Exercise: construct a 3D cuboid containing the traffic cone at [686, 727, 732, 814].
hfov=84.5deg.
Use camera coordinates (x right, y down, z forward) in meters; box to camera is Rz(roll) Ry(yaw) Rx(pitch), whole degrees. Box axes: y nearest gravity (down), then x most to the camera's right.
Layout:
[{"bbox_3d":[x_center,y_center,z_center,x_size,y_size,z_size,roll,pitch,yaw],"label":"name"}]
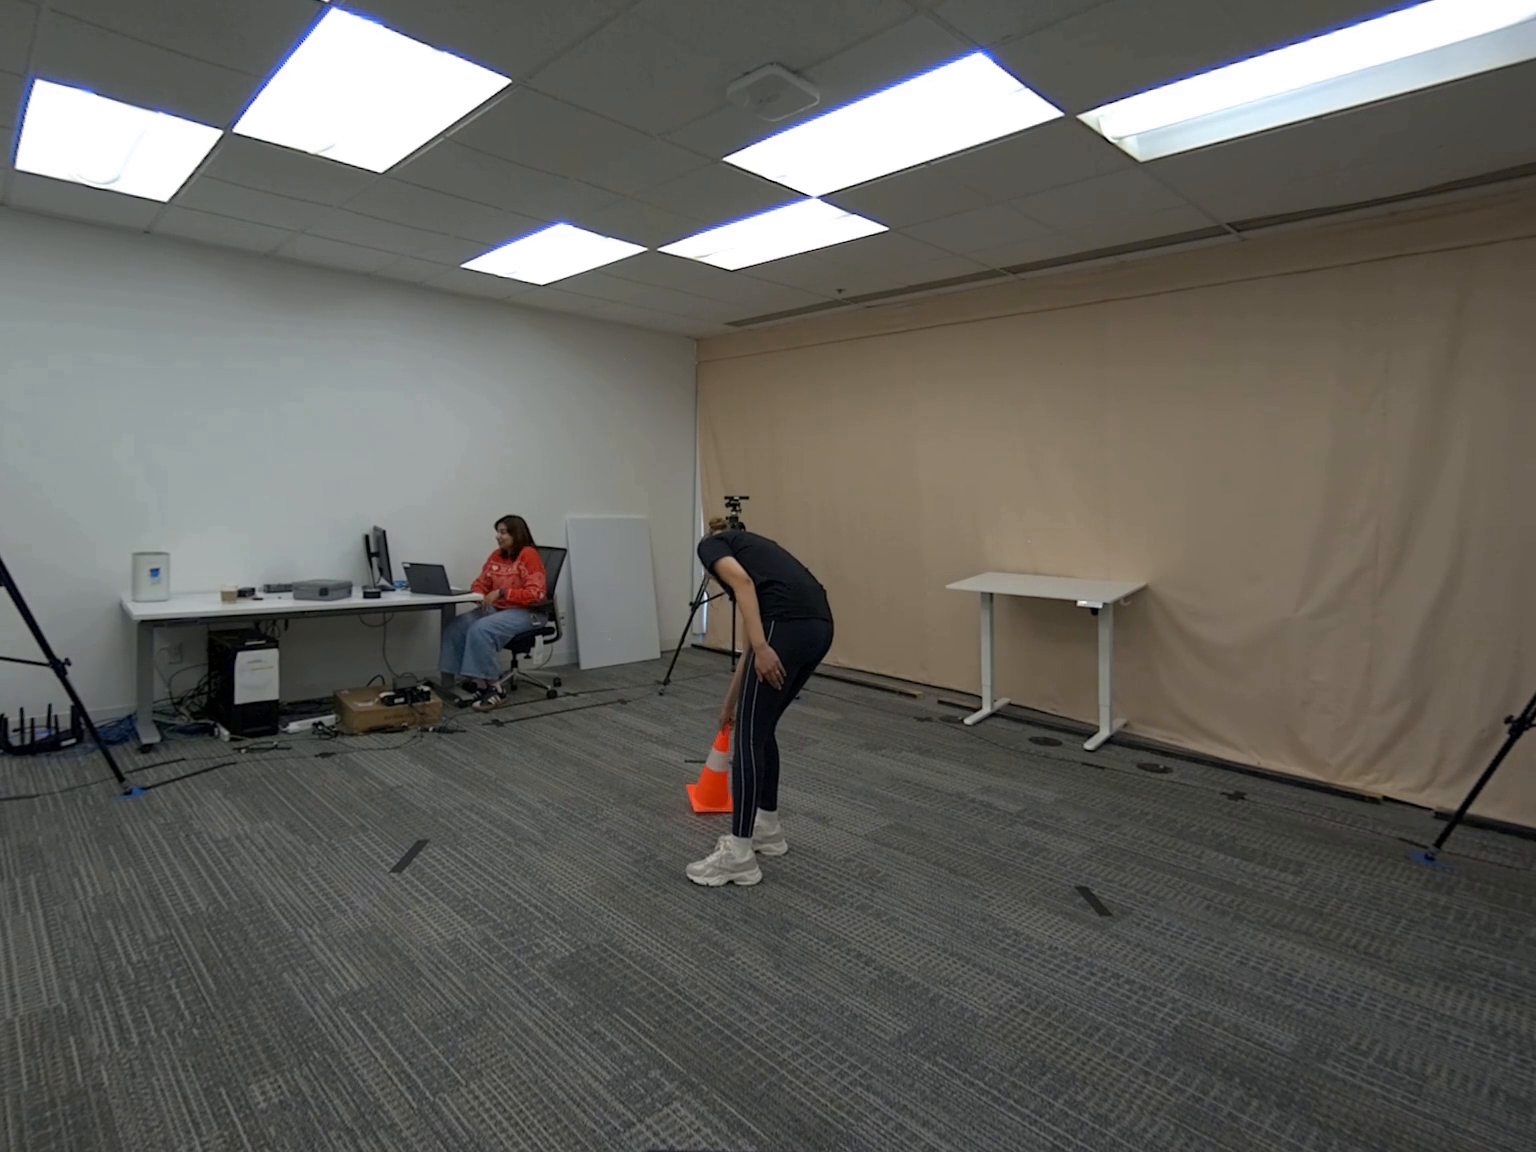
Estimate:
[{"bbox_3d":[-0.214,0.829,3.722,0.200,0.380,0.210,4,19,-18],"label":"traffic cone"}]
